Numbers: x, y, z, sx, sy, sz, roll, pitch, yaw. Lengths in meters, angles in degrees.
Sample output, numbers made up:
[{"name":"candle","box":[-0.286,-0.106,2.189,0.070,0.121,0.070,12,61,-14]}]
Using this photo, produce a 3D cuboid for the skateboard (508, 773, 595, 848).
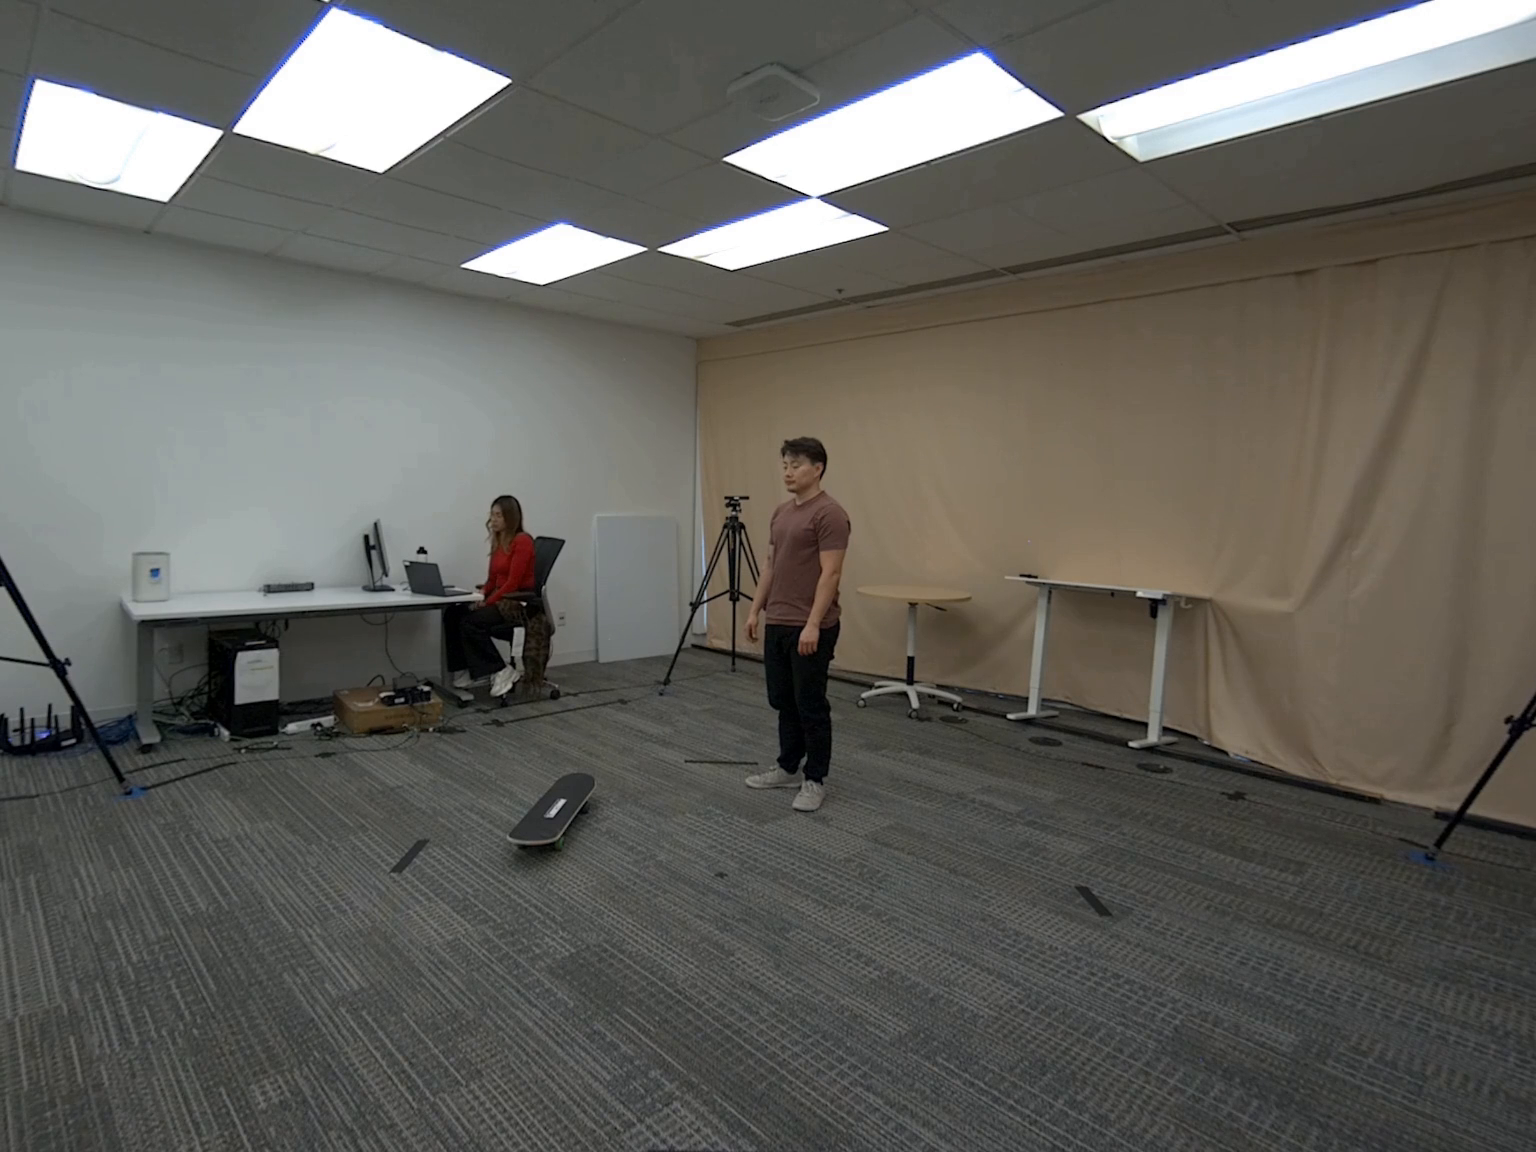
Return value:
[{"name":"skateboard","box":[-0.896,0.998,3.501,0.194,0.110,0.784,3,5,3]}]
